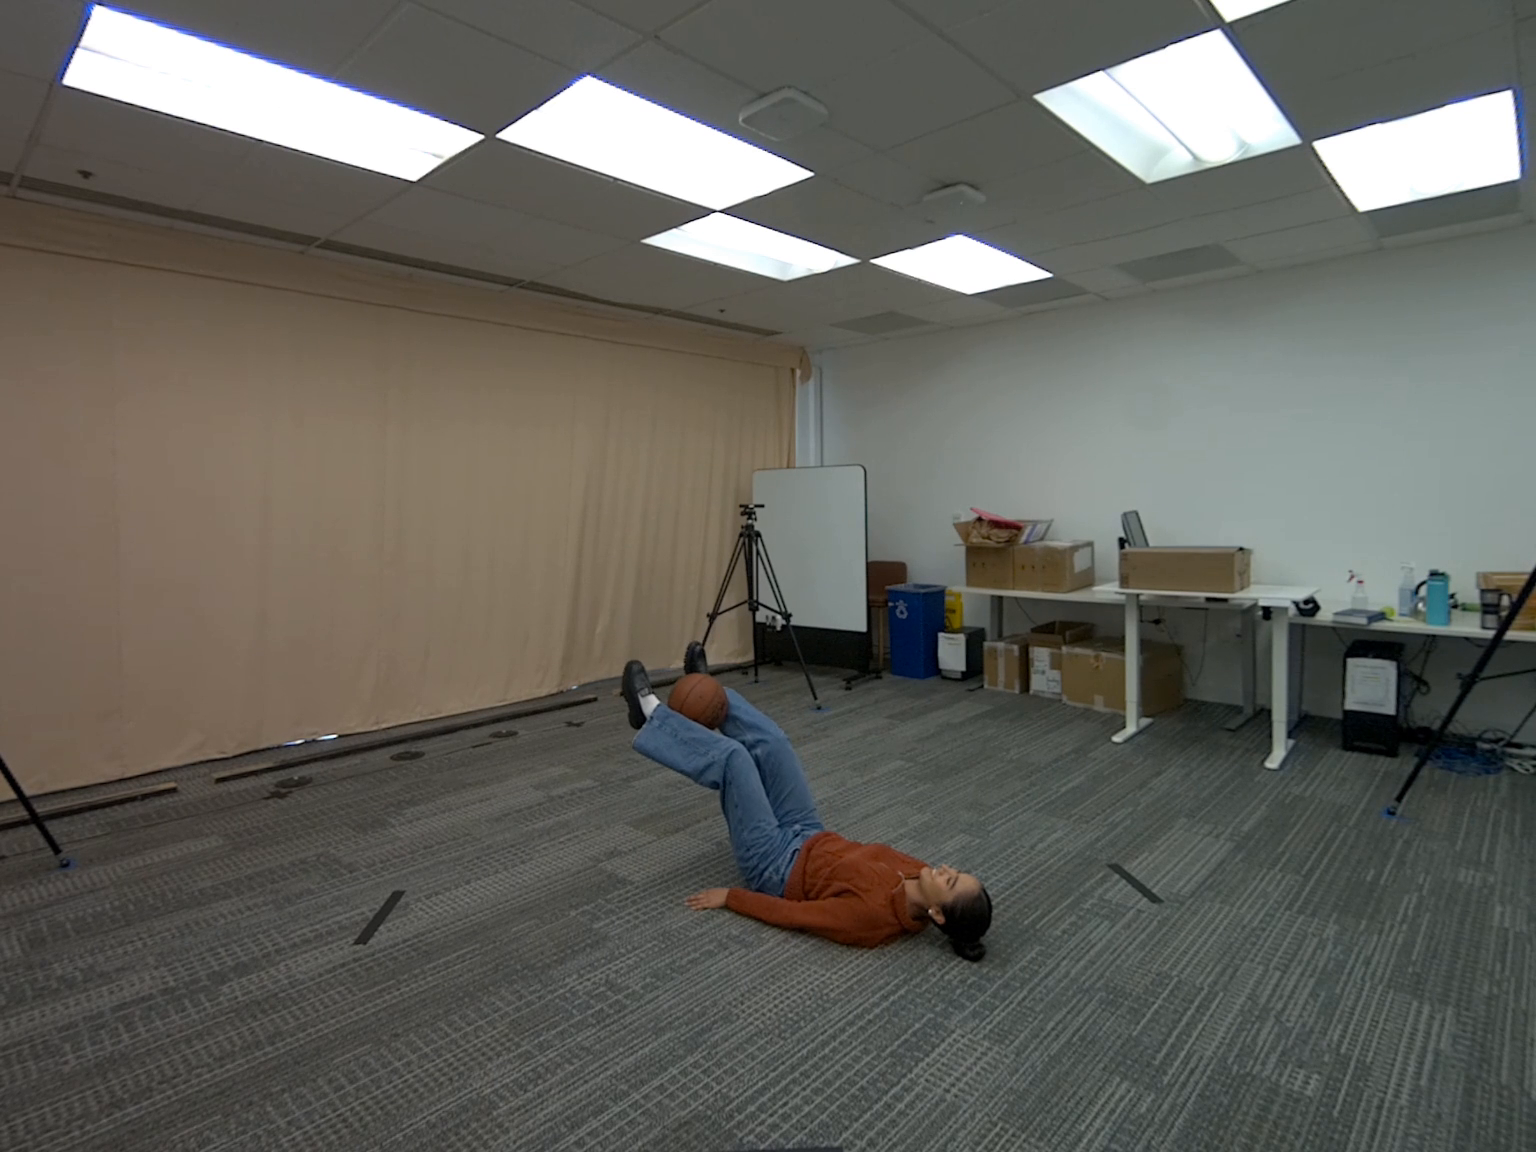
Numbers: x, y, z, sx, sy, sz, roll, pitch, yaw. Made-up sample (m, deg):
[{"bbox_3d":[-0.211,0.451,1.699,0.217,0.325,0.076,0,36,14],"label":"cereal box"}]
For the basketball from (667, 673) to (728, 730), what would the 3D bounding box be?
[{"bbox_3d":[-0.270,0.497,3.276,0.236,0.235,0.237,-1,4,-2],"label":"basketball"}]
